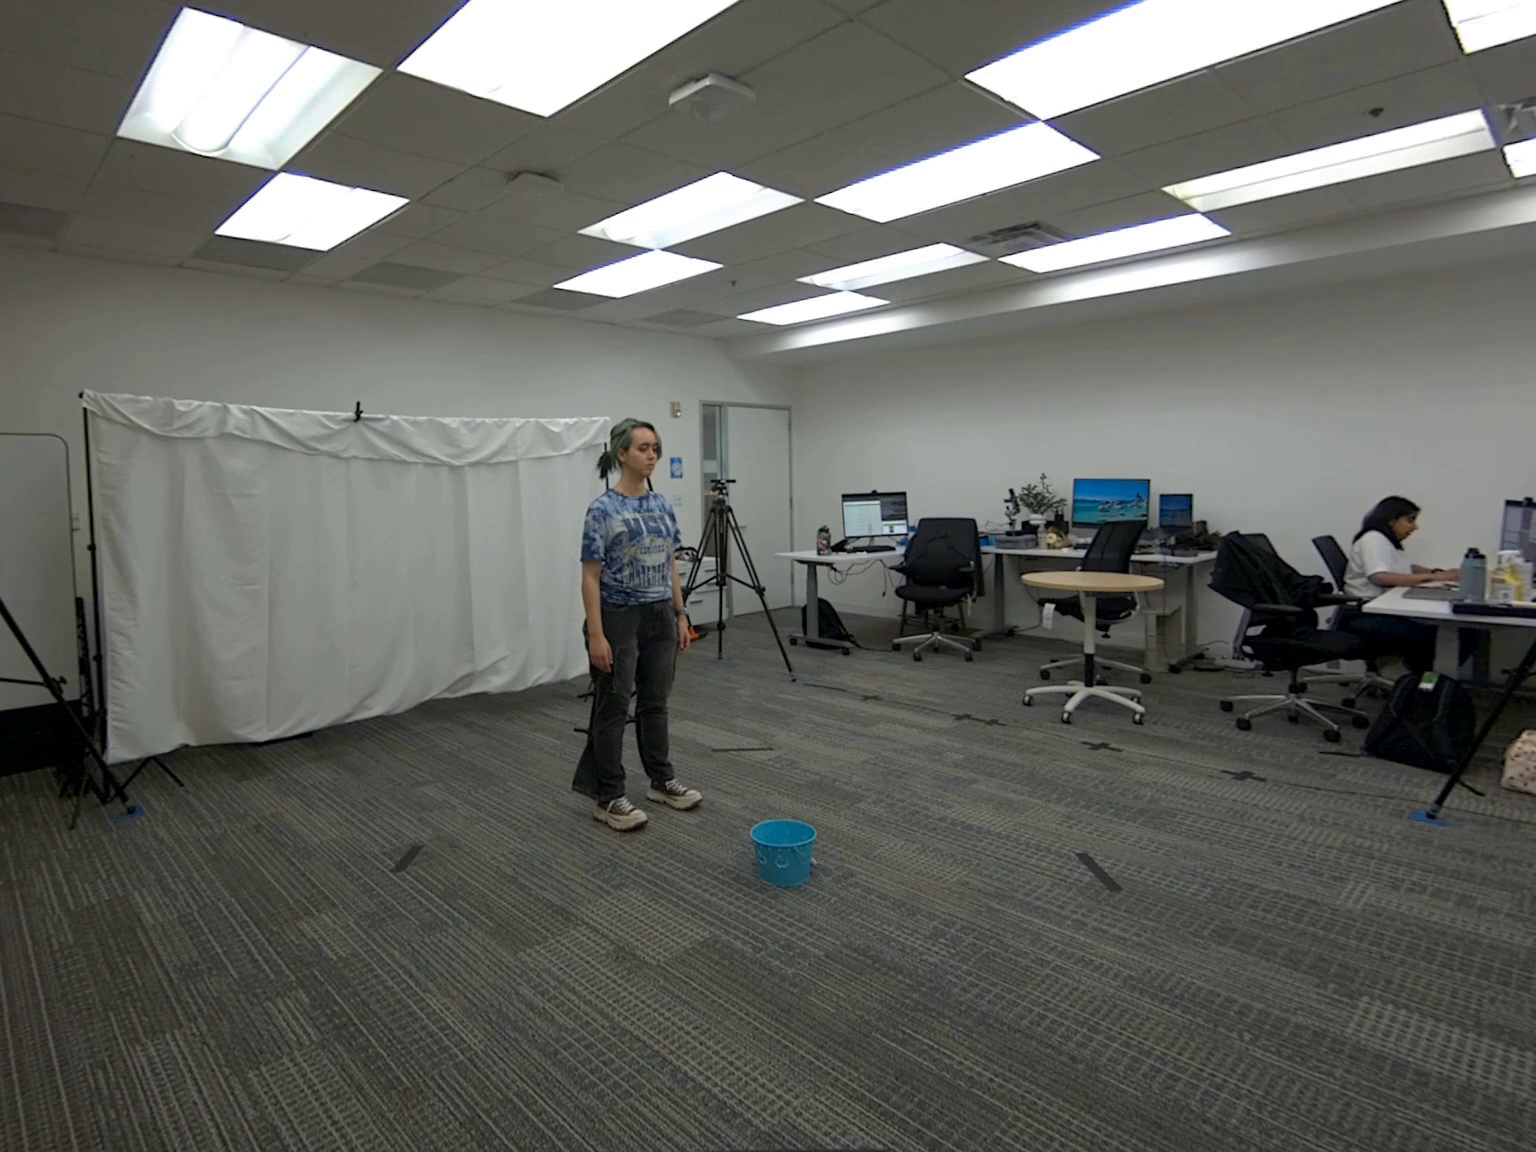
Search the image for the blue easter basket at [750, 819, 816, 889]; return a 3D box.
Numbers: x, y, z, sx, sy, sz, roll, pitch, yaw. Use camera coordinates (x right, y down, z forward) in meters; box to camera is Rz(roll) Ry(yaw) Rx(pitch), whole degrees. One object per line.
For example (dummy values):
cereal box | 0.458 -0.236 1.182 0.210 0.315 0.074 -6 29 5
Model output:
blue easter basket | 0.054 0.976 3.011 0.243 0.155 0.245 -2 5 -2
